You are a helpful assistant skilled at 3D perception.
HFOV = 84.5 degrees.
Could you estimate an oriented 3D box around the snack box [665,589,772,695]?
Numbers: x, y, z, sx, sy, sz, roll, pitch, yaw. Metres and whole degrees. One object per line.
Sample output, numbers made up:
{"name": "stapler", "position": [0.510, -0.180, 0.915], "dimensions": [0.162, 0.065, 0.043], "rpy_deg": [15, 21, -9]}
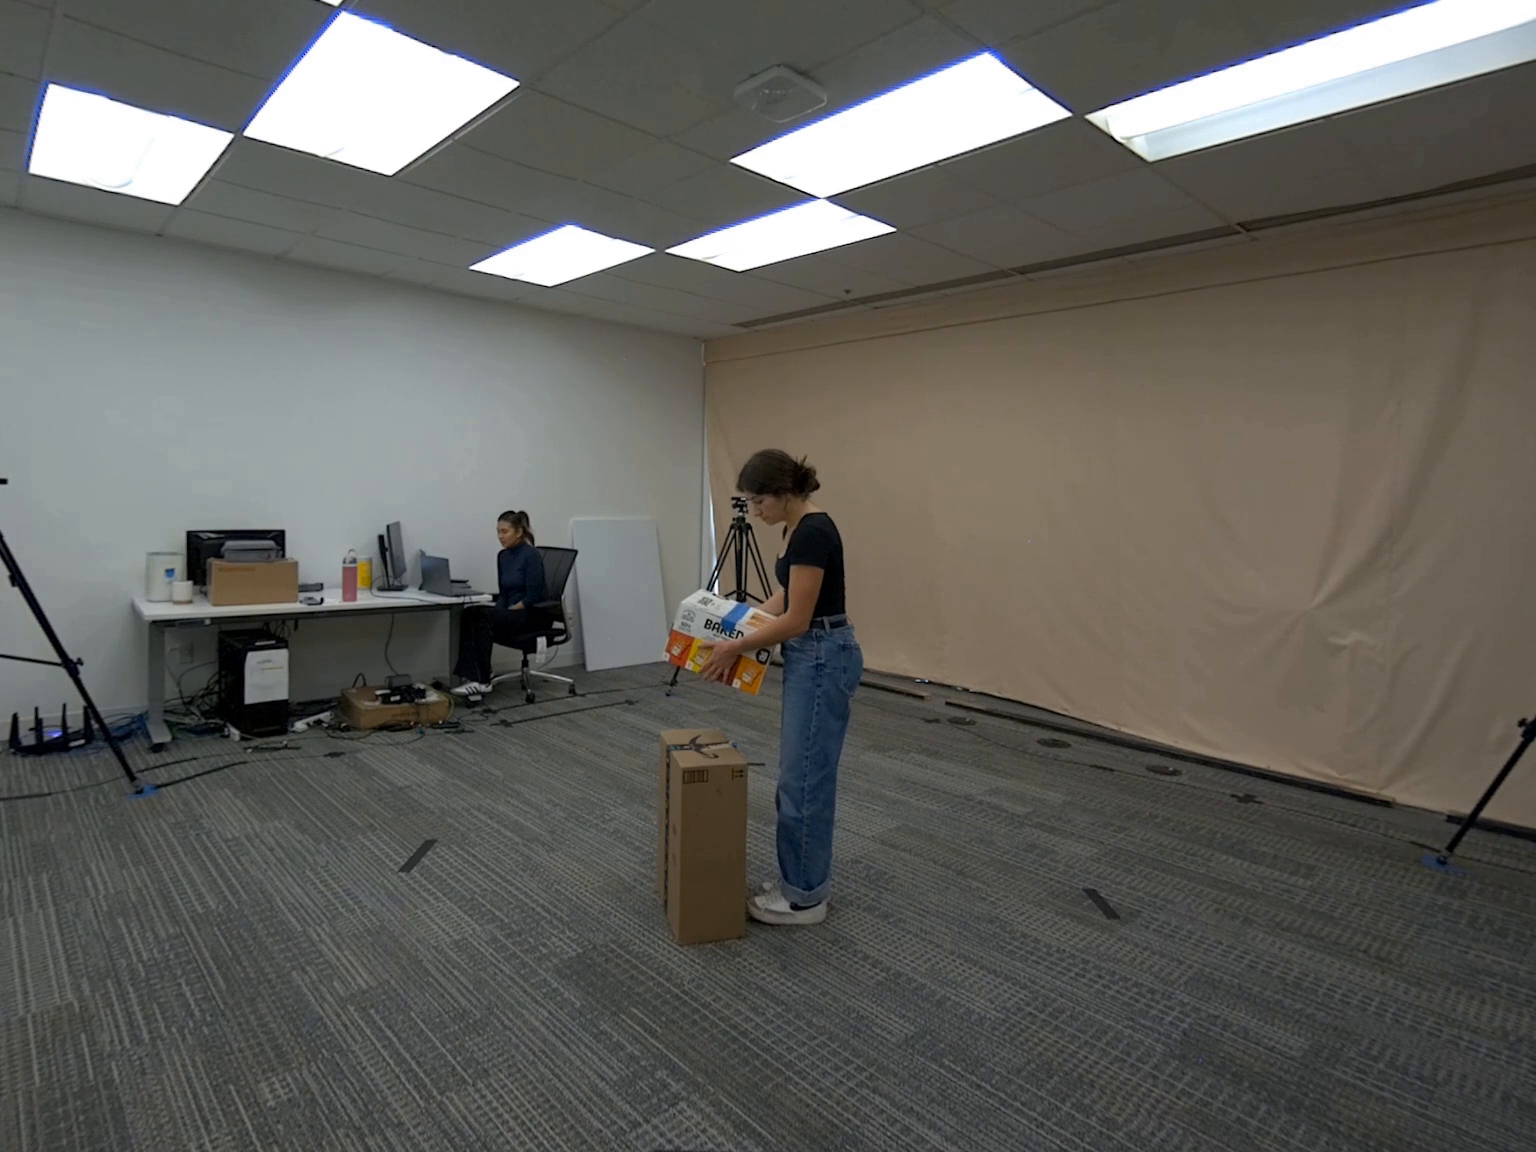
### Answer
{"name": "snack box", "position": [-0.149, 0.220, 2.948], "dimensions": [0.342, 0.205, 0.404], "rpy_deg": [20, 7, 5]}
